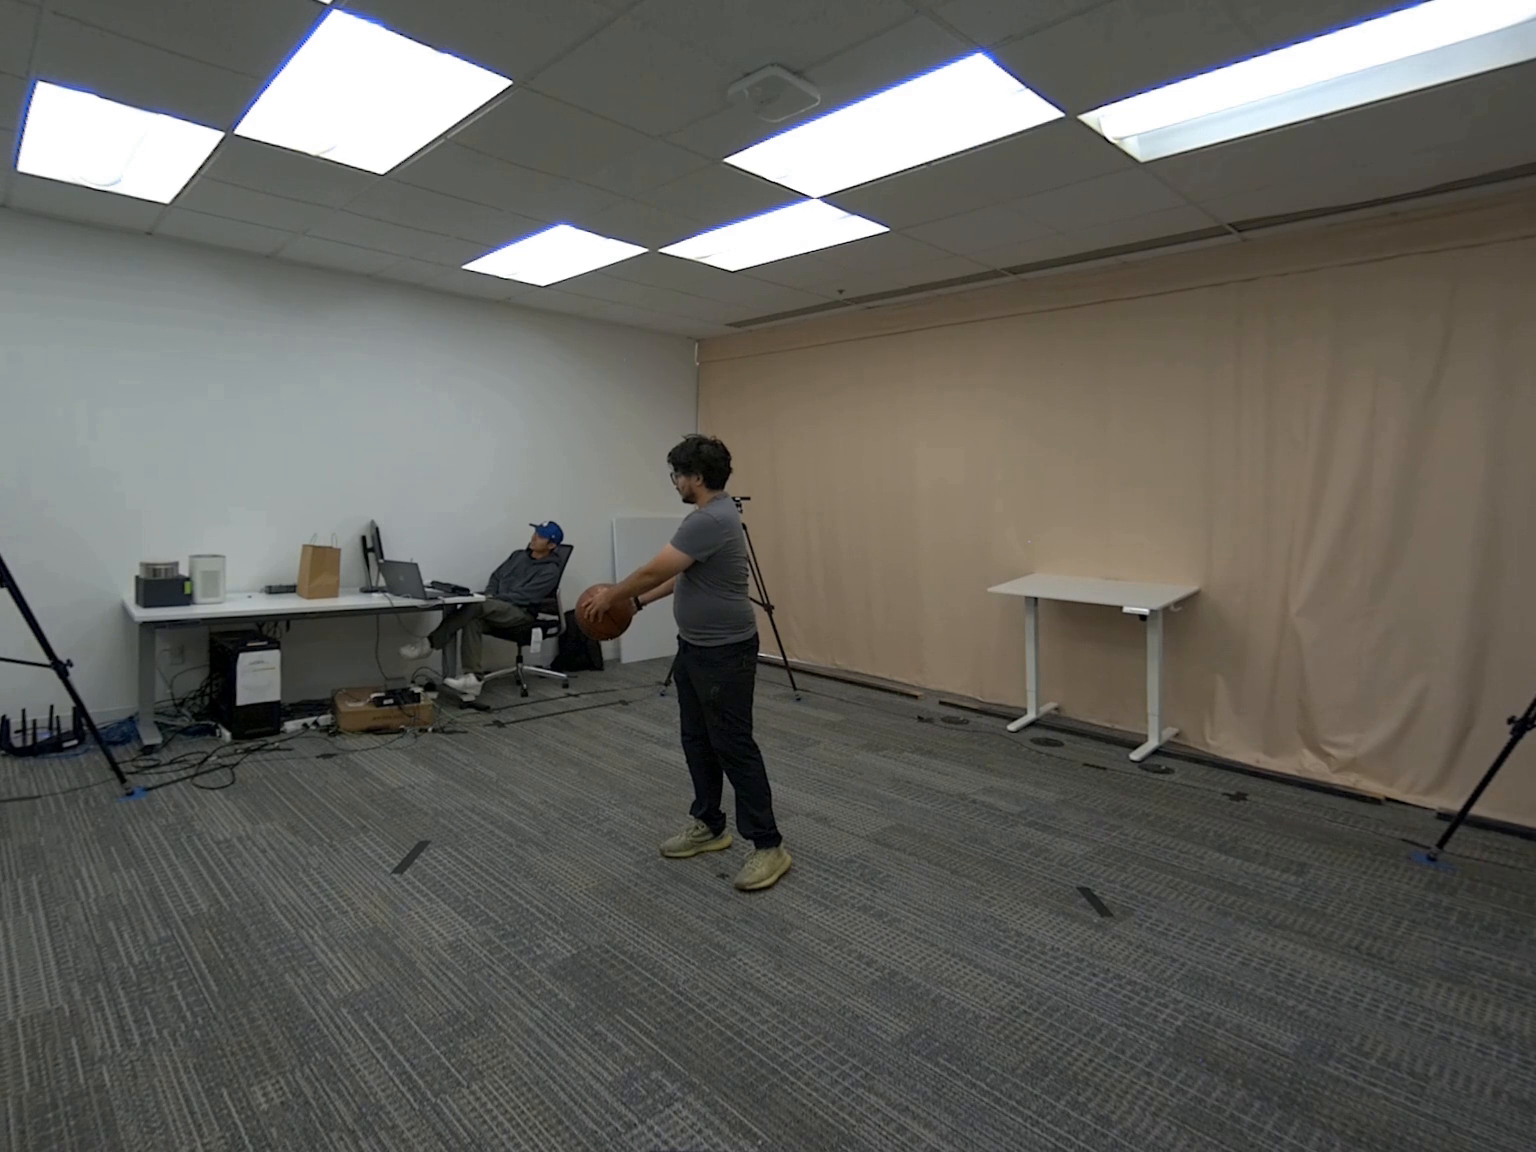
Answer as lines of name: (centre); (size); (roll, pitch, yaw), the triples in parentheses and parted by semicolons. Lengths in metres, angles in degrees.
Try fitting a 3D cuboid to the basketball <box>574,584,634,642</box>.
basketball: (-0.685, 0.151, 3.499); (0.236, 0.235, 0.237); (1, 4, -1)
